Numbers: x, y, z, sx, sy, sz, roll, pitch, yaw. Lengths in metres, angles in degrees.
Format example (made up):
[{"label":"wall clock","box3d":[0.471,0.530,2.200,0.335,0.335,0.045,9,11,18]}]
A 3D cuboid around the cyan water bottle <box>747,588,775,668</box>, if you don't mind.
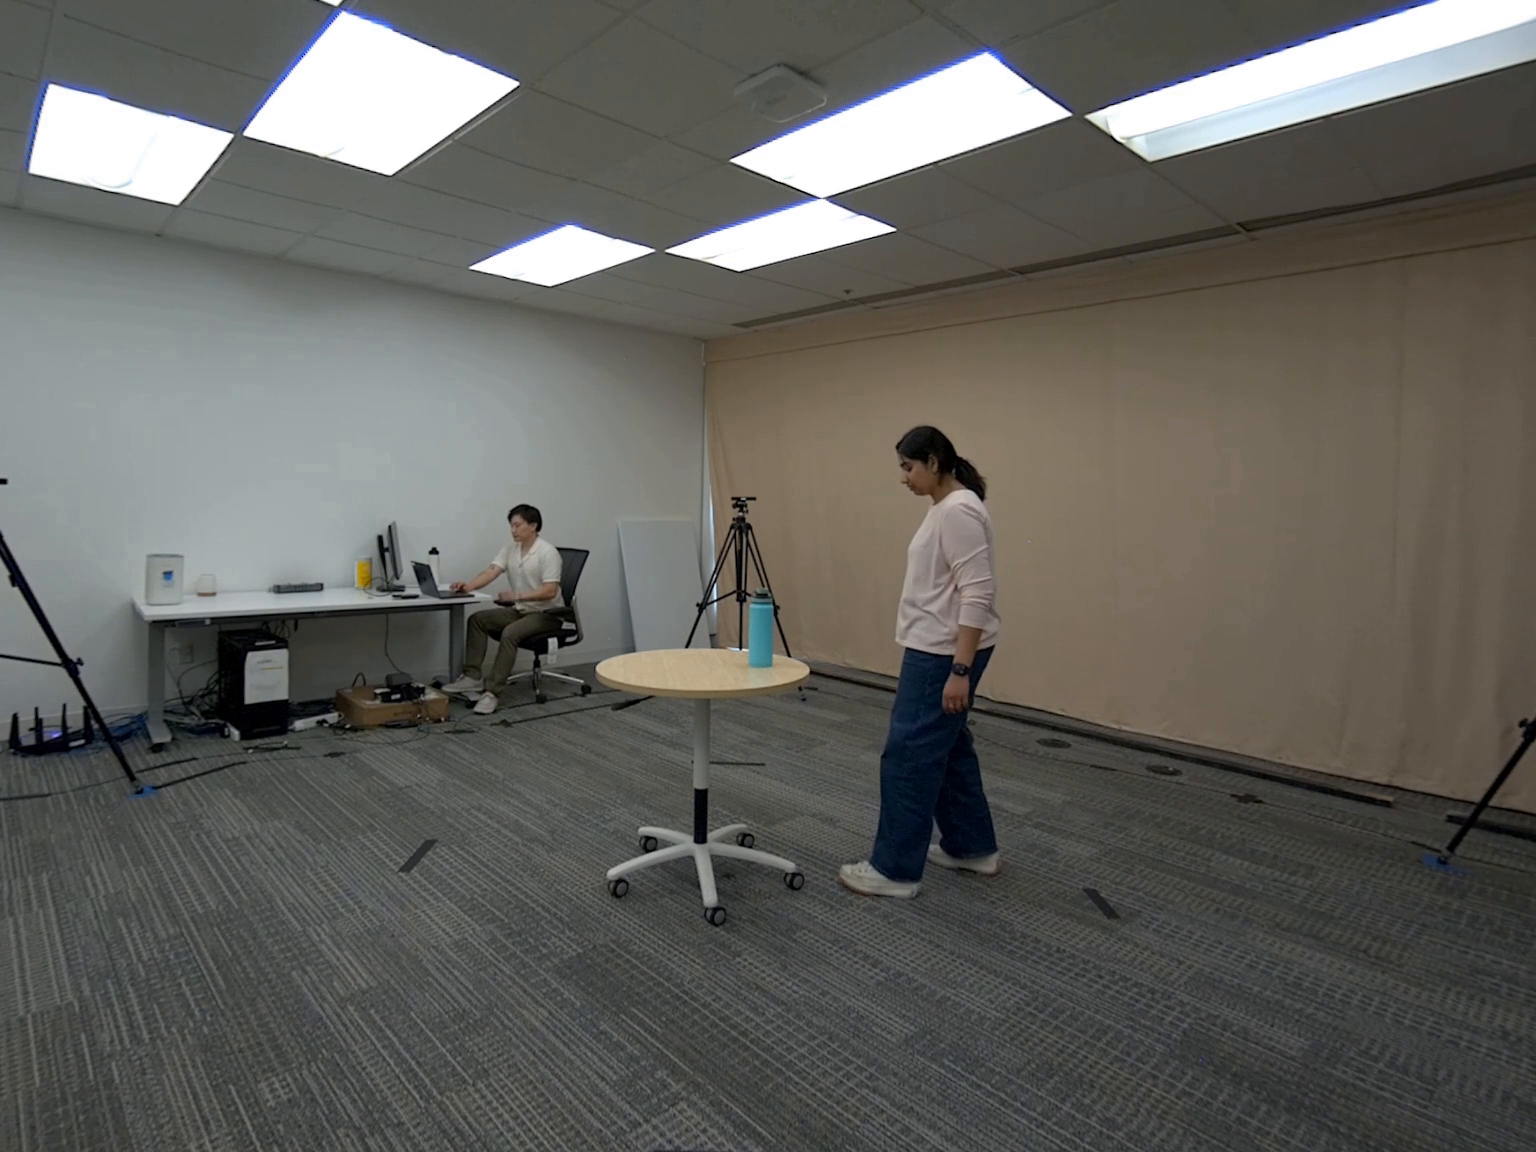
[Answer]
[{"label":"cyan water bottle","box3d":[-0.028,0.189,3.073,0.092,0.283,0.092,1,2,-1]}]
